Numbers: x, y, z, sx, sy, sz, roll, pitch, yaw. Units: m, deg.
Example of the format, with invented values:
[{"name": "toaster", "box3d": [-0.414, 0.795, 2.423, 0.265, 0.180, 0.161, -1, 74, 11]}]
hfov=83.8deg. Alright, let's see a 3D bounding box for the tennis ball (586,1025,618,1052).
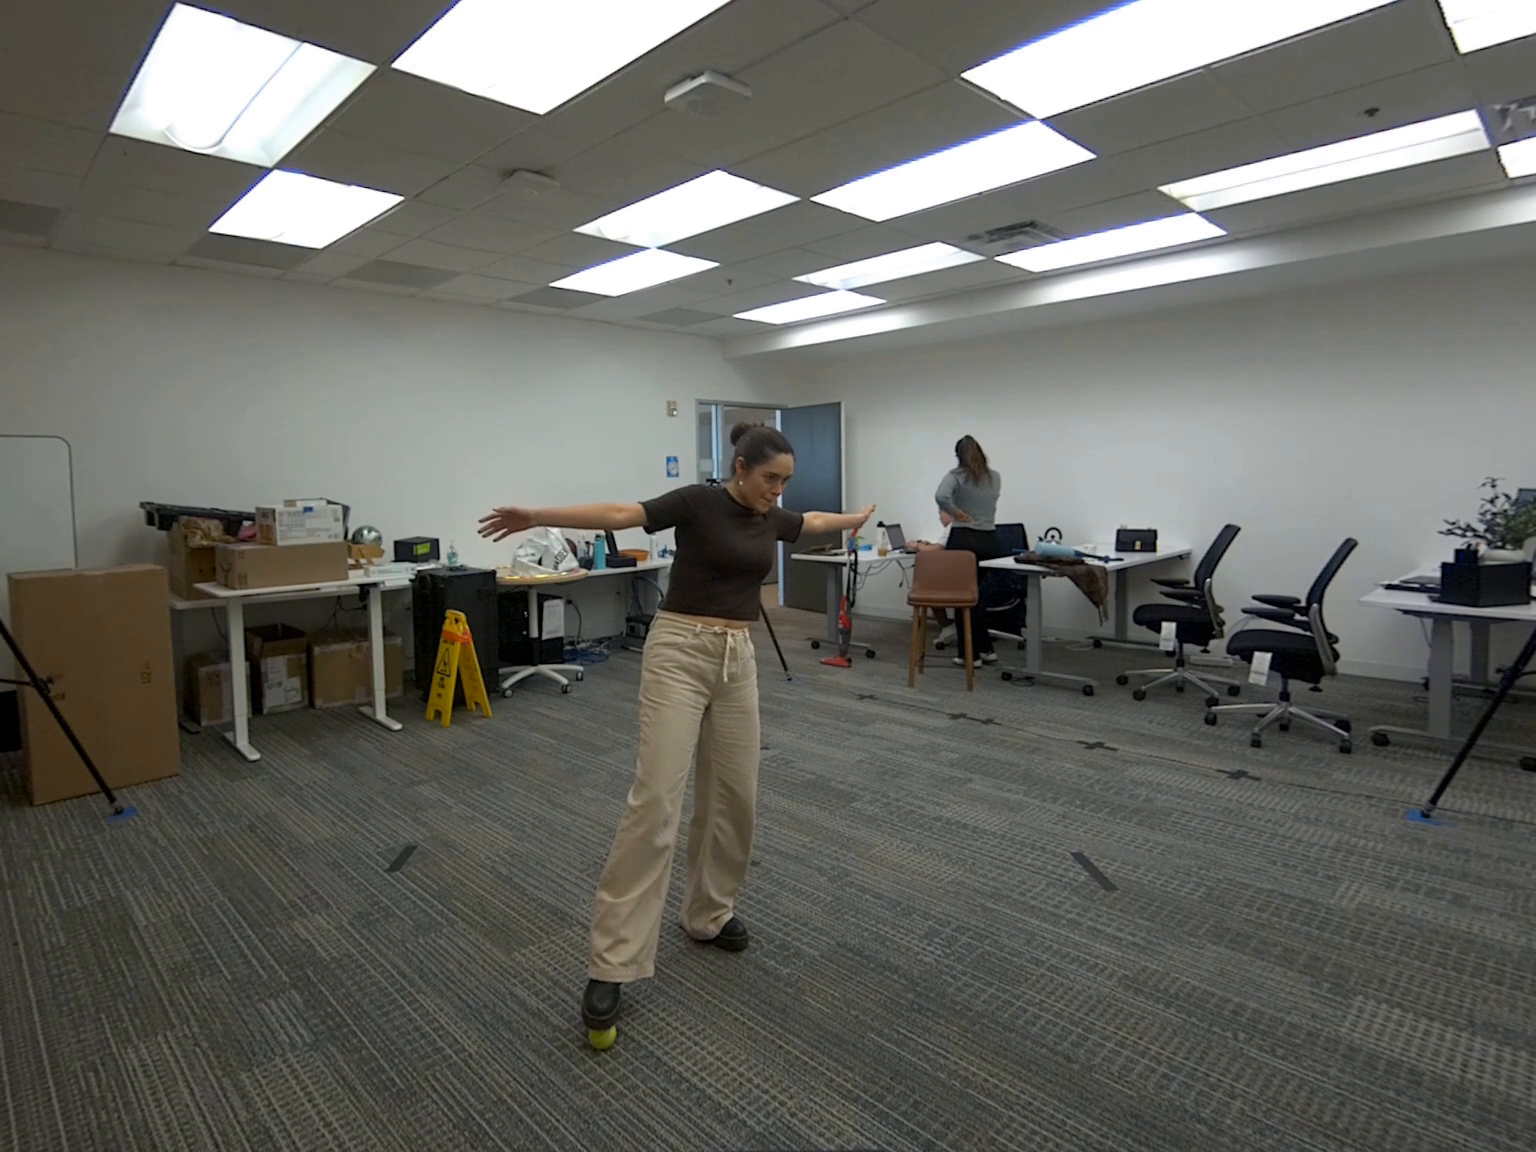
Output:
[{"name": "tennis ball", "box3d": [-0.403, 1.130, 2.130, 0.066, 0.066, 0.067, -1, 5, -2]}]
